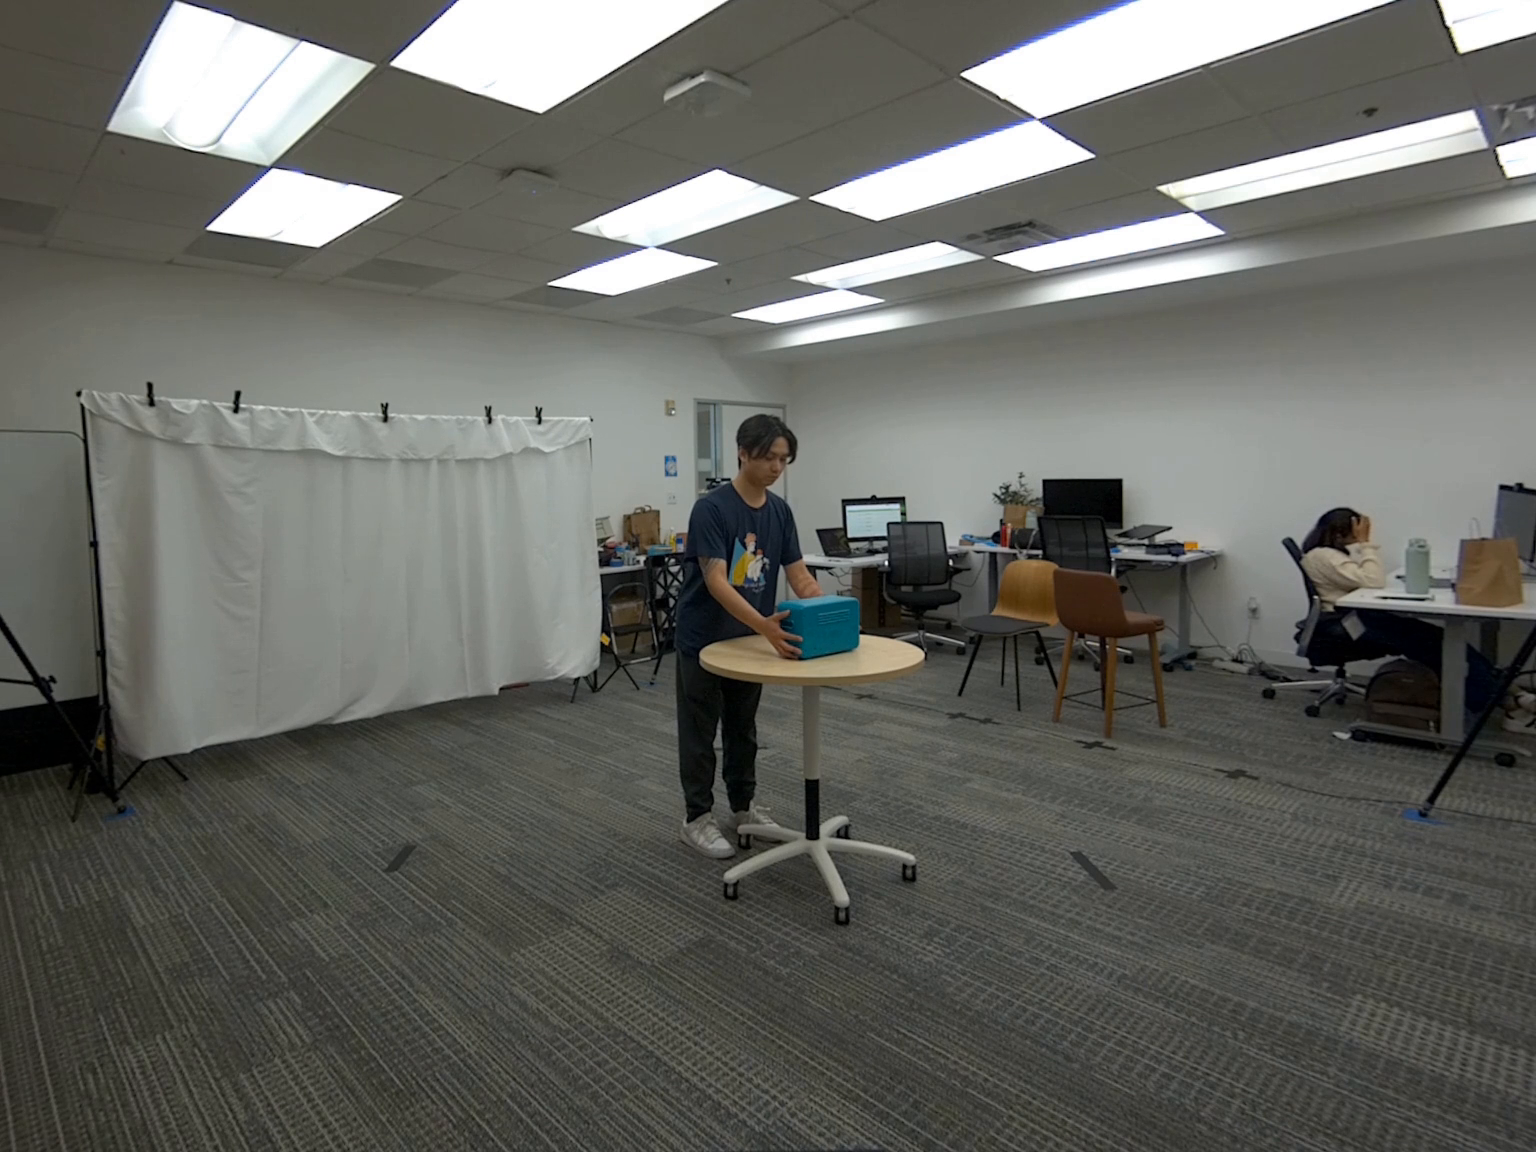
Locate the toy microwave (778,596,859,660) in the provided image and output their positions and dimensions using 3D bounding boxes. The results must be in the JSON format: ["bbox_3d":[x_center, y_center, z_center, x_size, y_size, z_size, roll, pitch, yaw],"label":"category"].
[{"bbox_3d":[0.175,0.177,2.916,0.279,0.183,0.157,-5,6,-39],"label":"toy microwave"}]
